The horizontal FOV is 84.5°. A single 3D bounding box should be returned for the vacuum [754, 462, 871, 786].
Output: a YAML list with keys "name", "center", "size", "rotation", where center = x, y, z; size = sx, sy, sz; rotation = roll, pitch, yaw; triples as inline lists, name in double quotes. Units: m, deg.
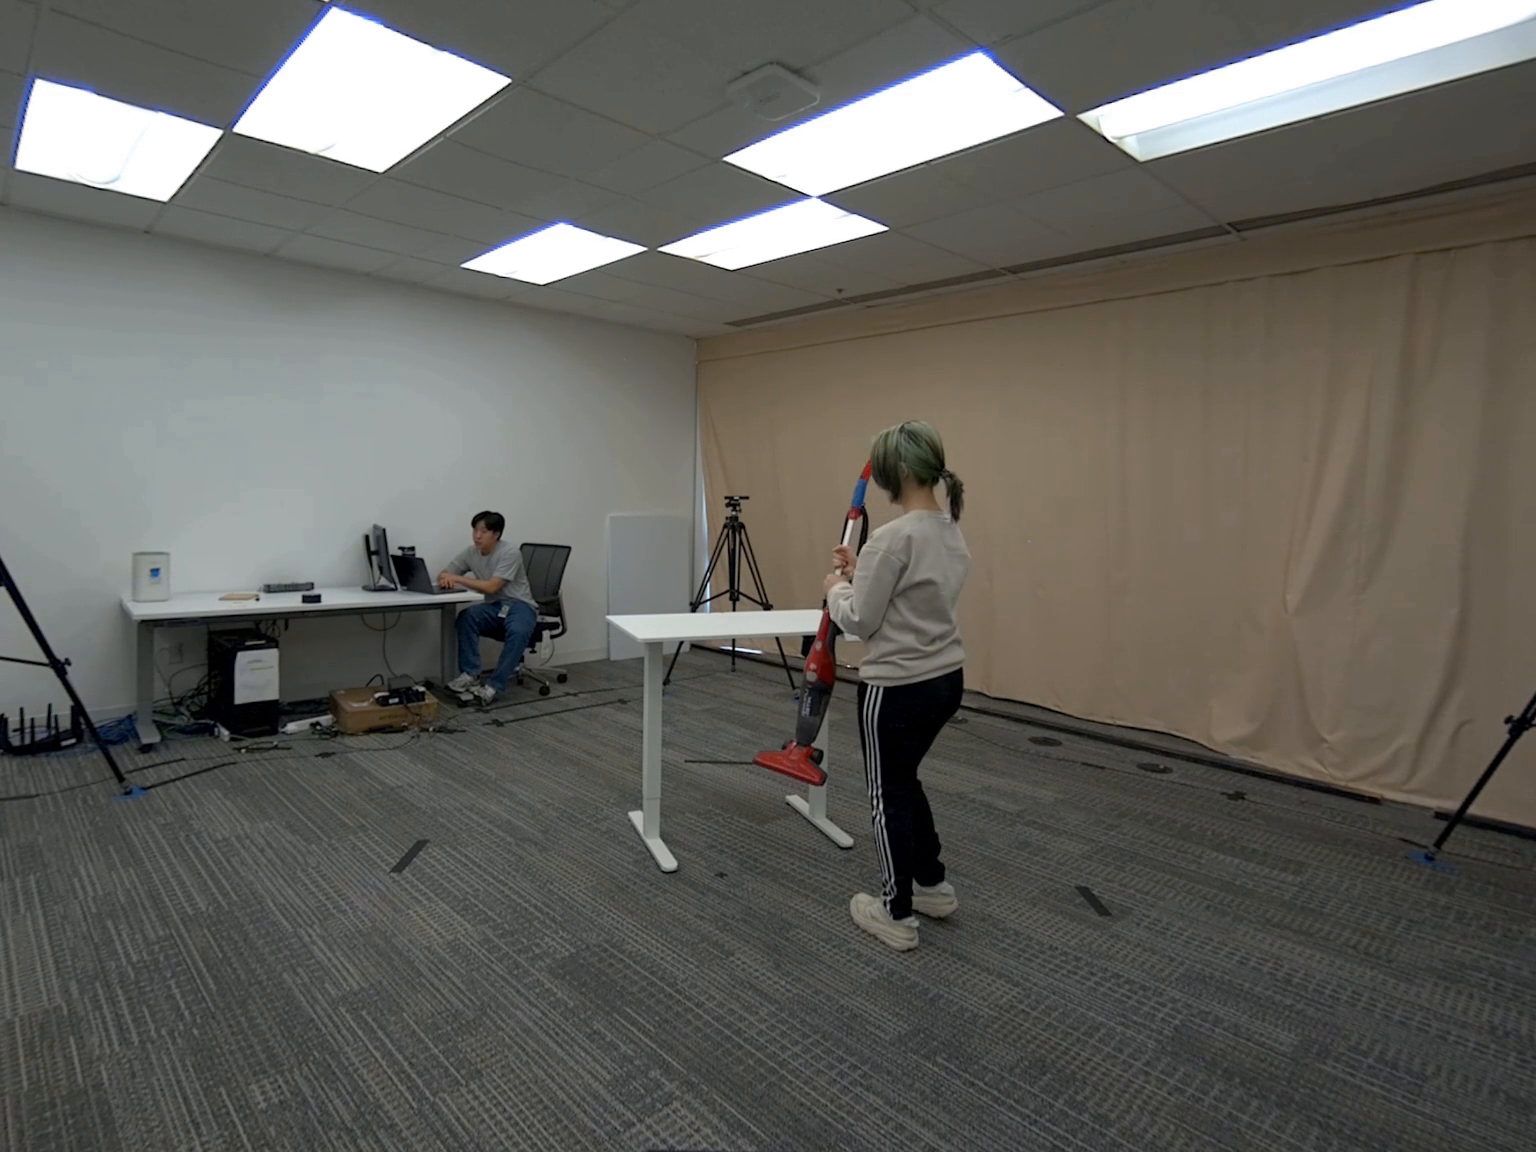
- name: "vacuum"
  center: [0.228, 0.108, 2.805]
  size: [0.258, 1.053, 0.140]
  rotation: [11, -8, 28]
